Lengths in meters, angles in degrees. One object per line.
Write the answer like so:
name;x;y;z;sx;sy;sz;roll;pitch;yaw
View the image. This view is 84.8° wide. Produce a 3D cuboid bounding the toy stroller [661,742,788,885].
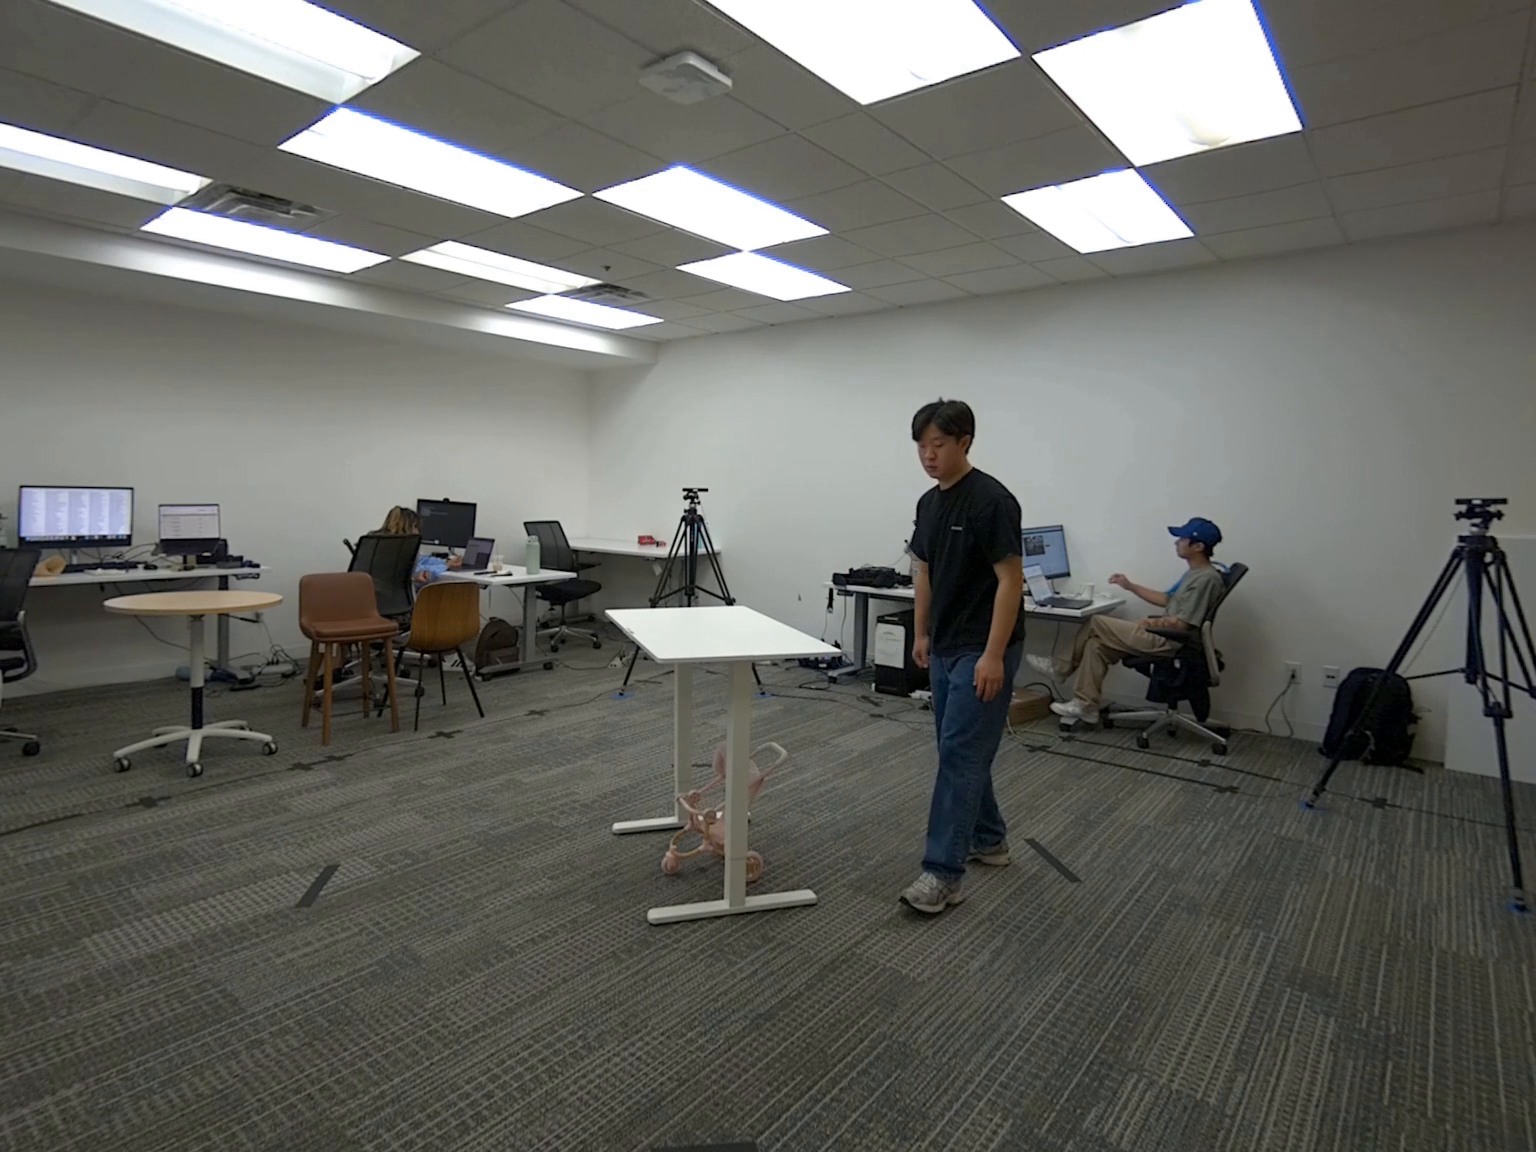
toy stroller;-0.183;0.845;3.111;0.335;0.535;0.286;16;-1;-15
